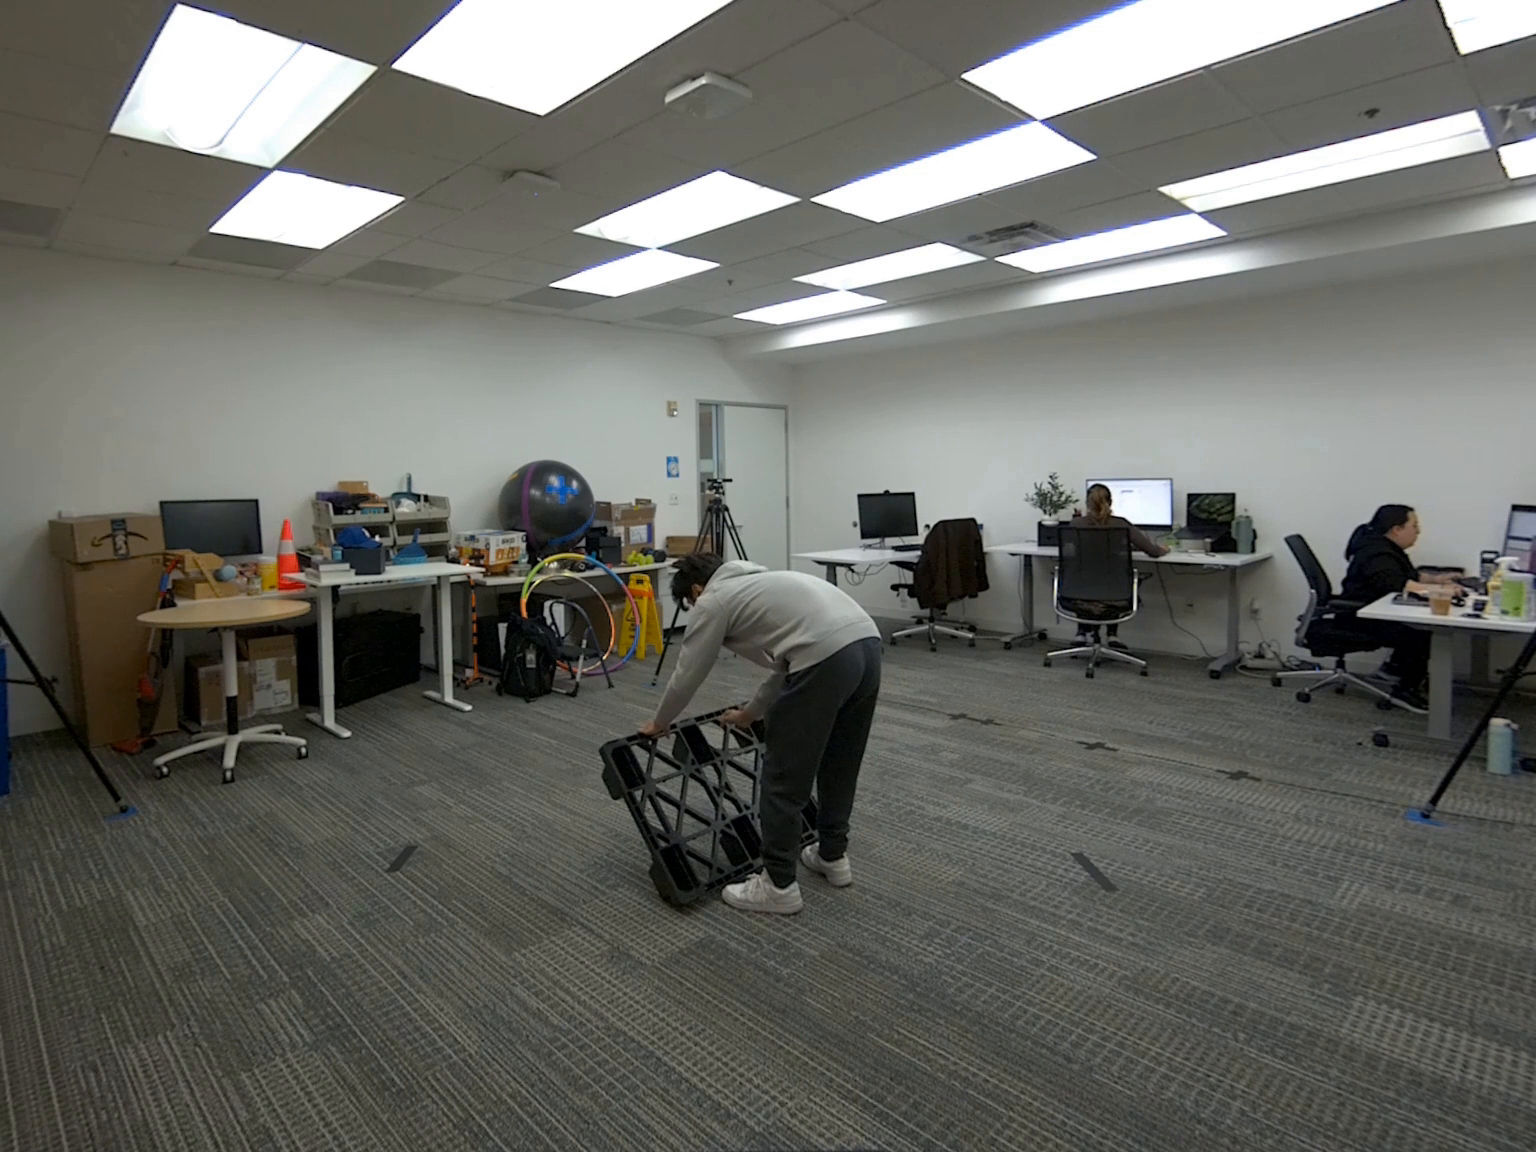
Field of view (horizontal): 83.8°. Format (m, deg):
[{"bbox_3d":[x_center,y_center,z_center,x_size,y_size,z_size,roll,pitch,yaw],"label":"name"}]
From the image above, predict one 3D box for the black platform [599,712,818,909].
[{"bbox_3d":[-0.196,0.819,3.180,0.785,0.623,0.143,-7,-35,-46],"label":"black platform"}]
